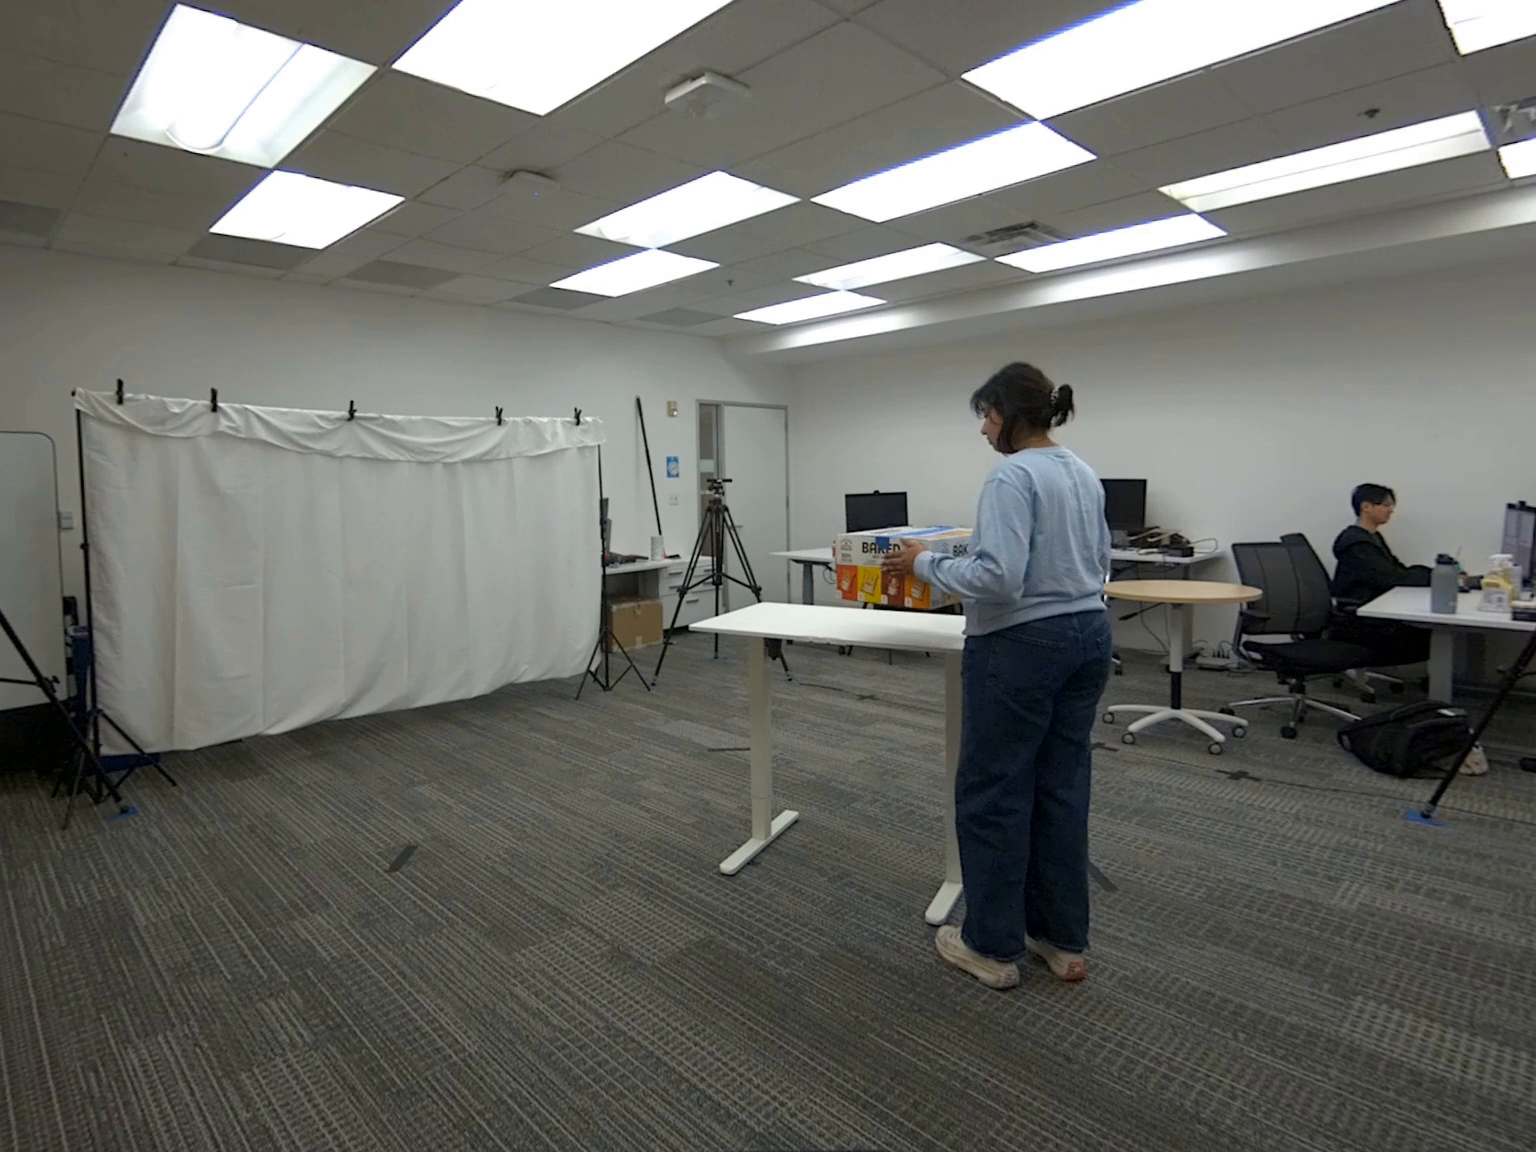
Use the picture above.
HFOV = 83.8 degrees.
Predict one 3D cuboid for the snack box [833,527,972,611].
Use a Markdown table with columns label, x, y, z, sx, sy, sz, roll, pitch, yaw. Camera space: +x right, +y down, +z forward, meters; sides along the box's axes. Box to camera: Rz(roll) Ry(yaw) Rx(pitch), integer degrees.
| label | x | y | z | sx | sy | sz | roll | pitch | yaw |
| --- | --- | --- | --- | --- | --- | --- | --- | --- | --- |
| snack box | 0.470 | -0.040 | 2.689 | 0.351 | 0.204 | 0.395 | 5 | 9 | 42 |
